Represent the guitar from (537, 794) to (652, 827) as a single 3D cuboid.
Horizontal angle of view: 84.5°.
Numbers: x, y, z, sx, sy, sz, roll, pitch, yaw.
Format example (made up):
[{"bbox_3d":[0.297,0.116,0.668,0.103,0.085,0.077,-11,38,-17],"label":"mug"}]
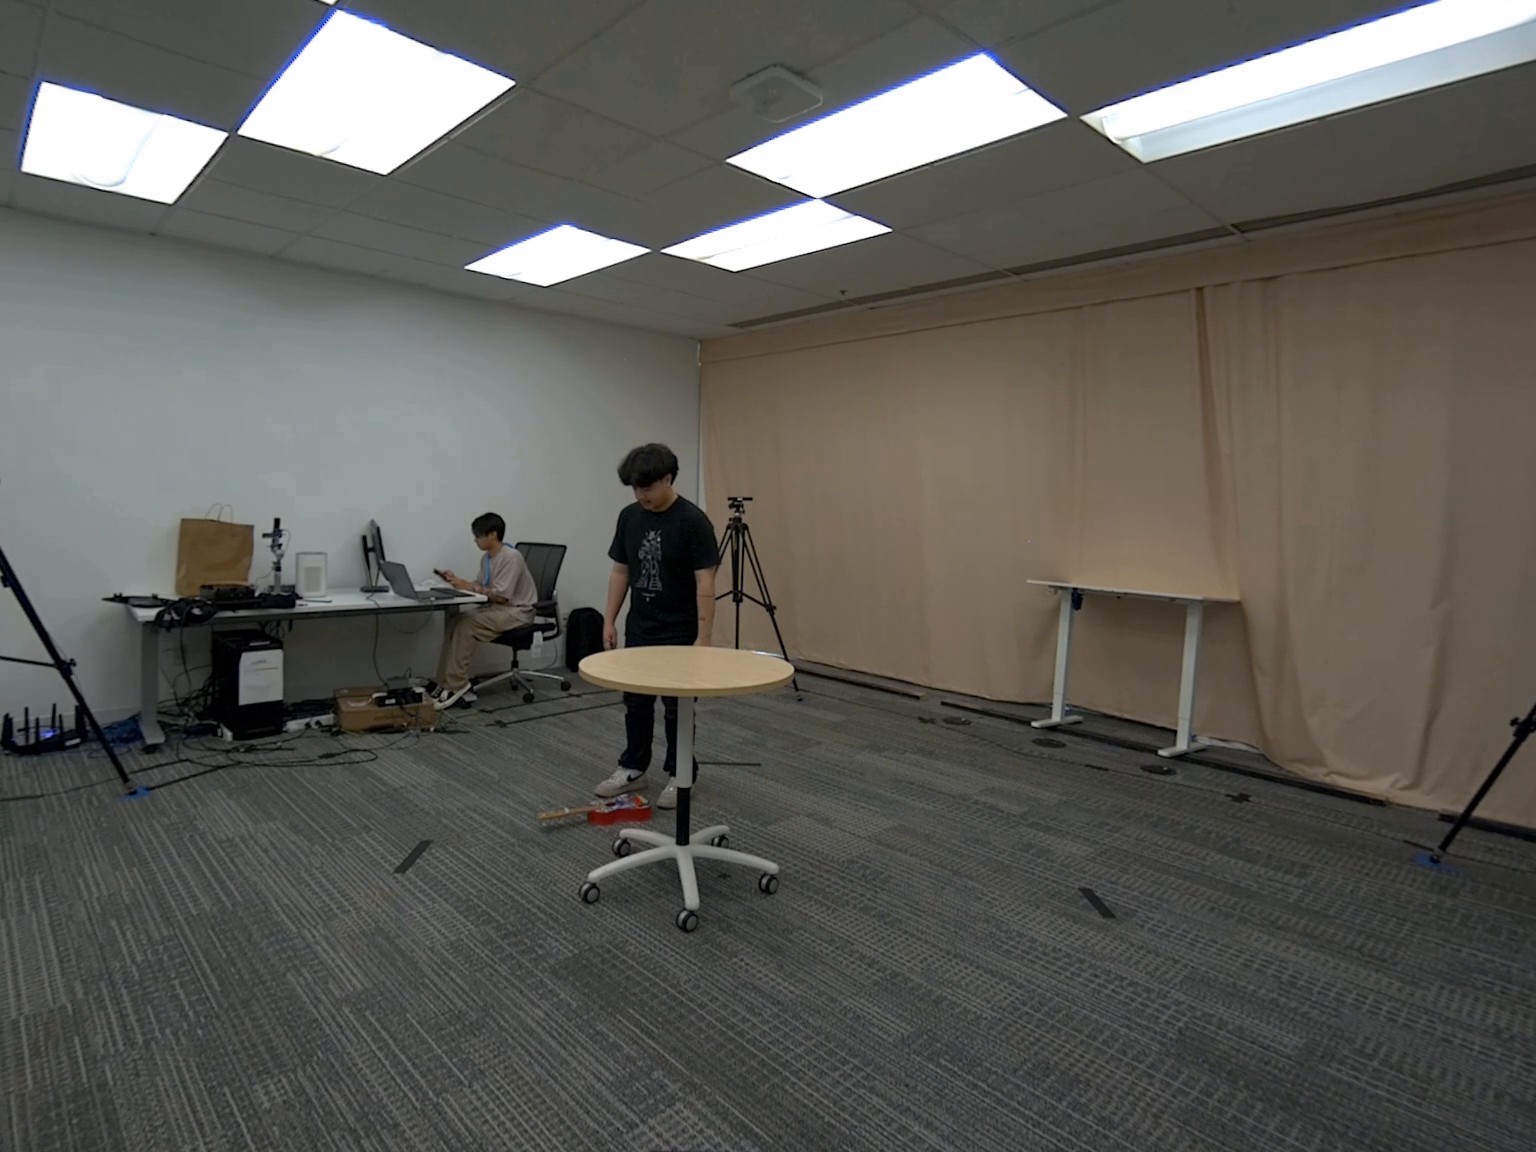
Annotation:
[{"bbox_3d":[-0.764,1.017,3.629,0.490,0.070,0.197,0,5,-22],"label":"guitar"}]
